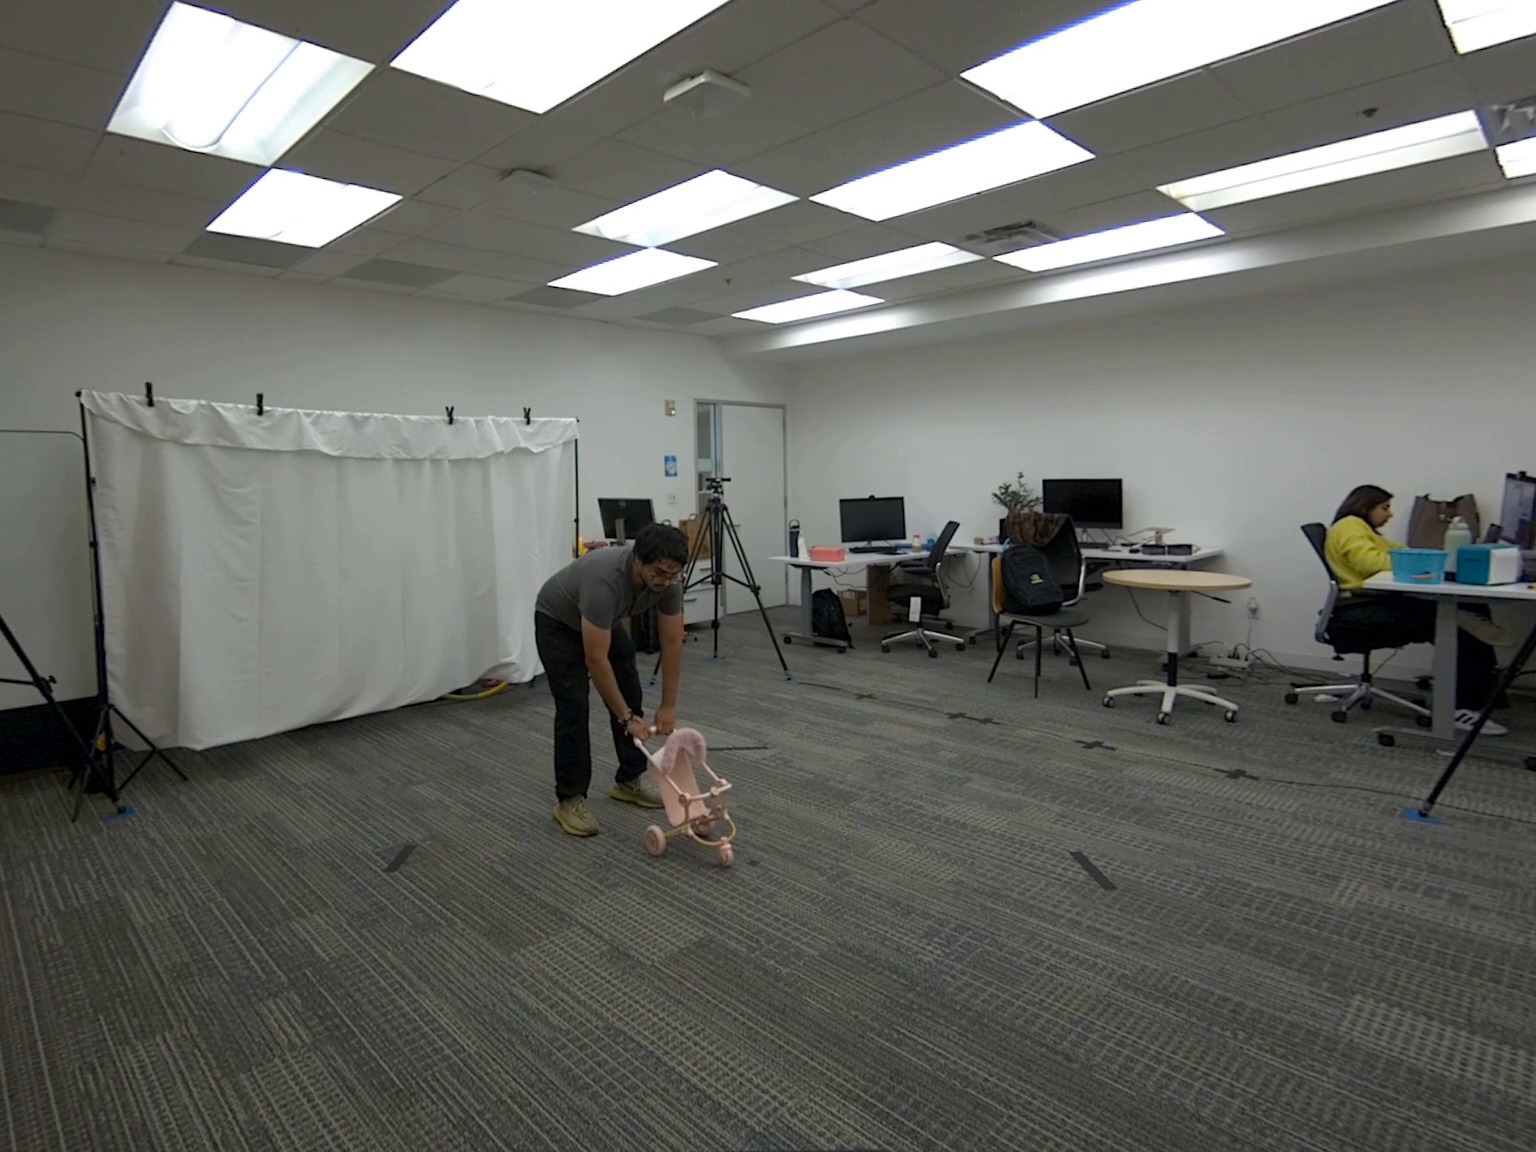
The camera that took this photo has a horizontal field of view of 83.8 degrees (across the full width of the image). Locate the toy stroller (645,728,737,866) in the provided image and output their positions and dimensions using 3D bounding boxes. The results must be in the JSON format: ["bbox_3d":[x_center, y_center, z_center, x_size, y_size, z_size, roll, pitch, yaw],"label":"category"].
[{"bbox_3d":[-0.296,0.808,3.210,0.274,0.540,0.347,-5,-11,-41],"label":"toy stroller"}]
